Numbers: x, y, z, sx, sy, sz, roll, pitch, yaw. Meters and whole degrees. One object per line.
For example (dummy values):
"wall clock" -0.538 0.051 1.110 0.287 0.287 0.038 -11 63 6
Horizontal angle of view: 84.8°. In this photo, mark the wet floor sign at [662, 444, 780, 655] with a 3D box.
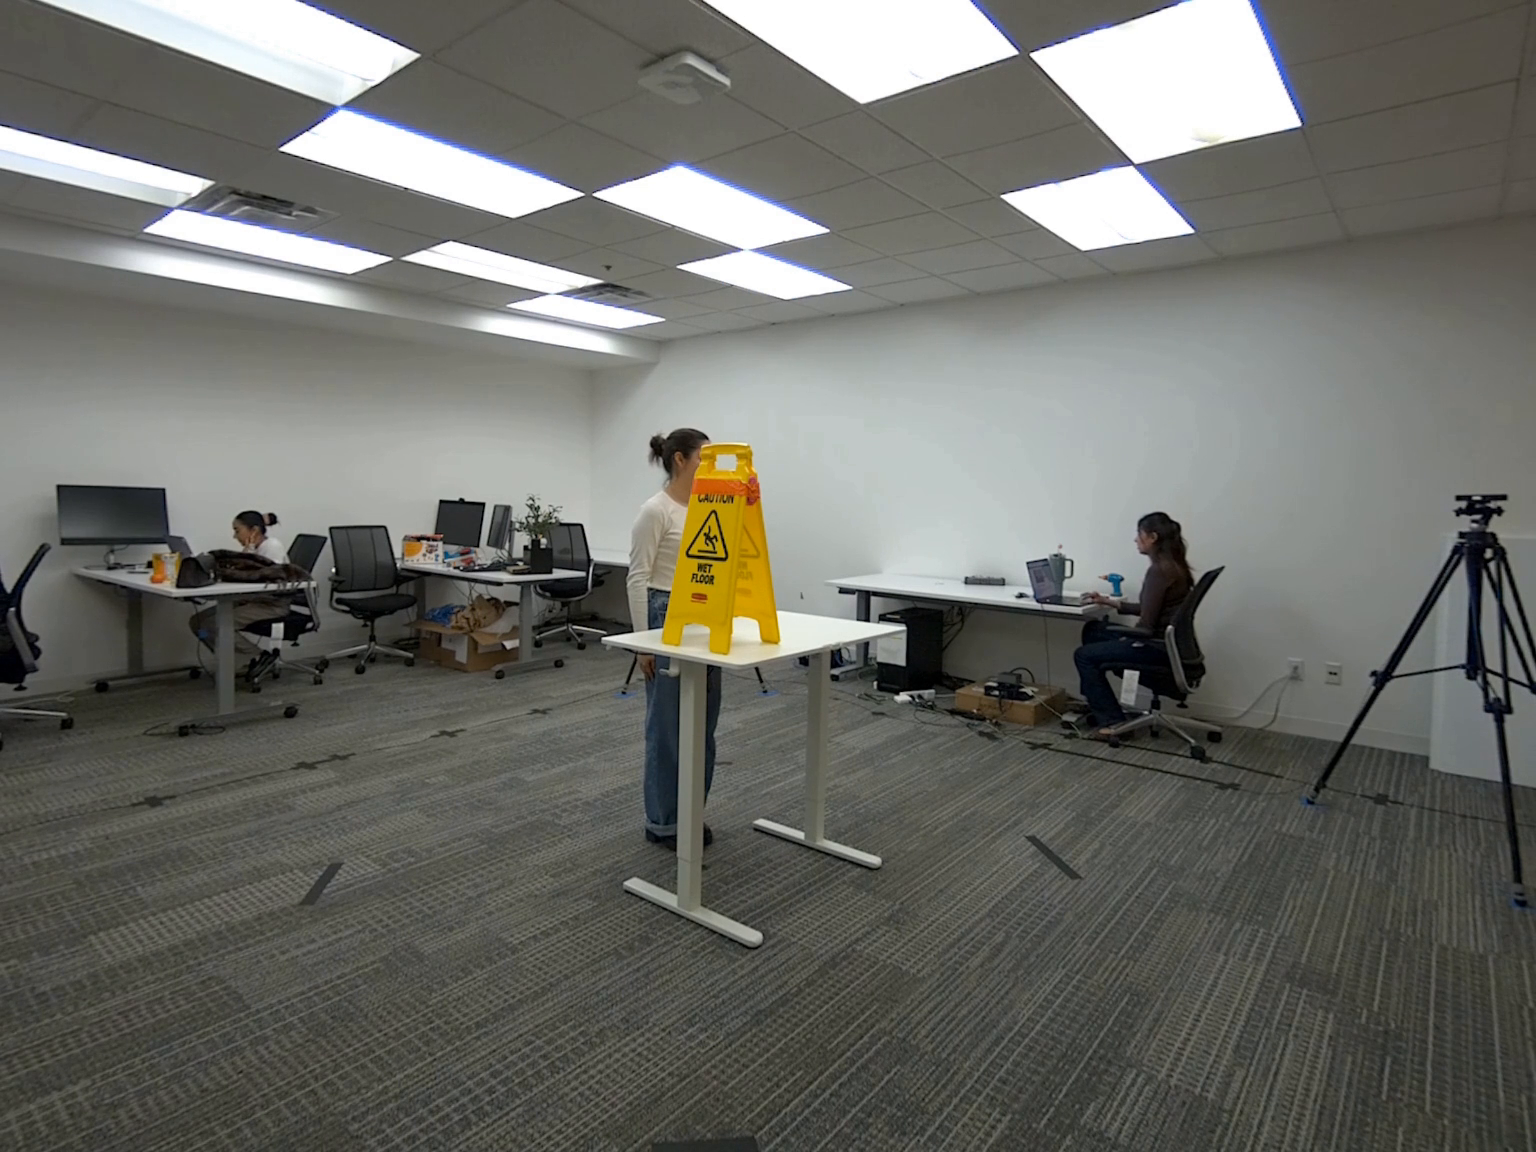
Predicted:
"wet floor sign" -0.153 -0.103 2.747 0.291 0.644 0.281 4 5 38
